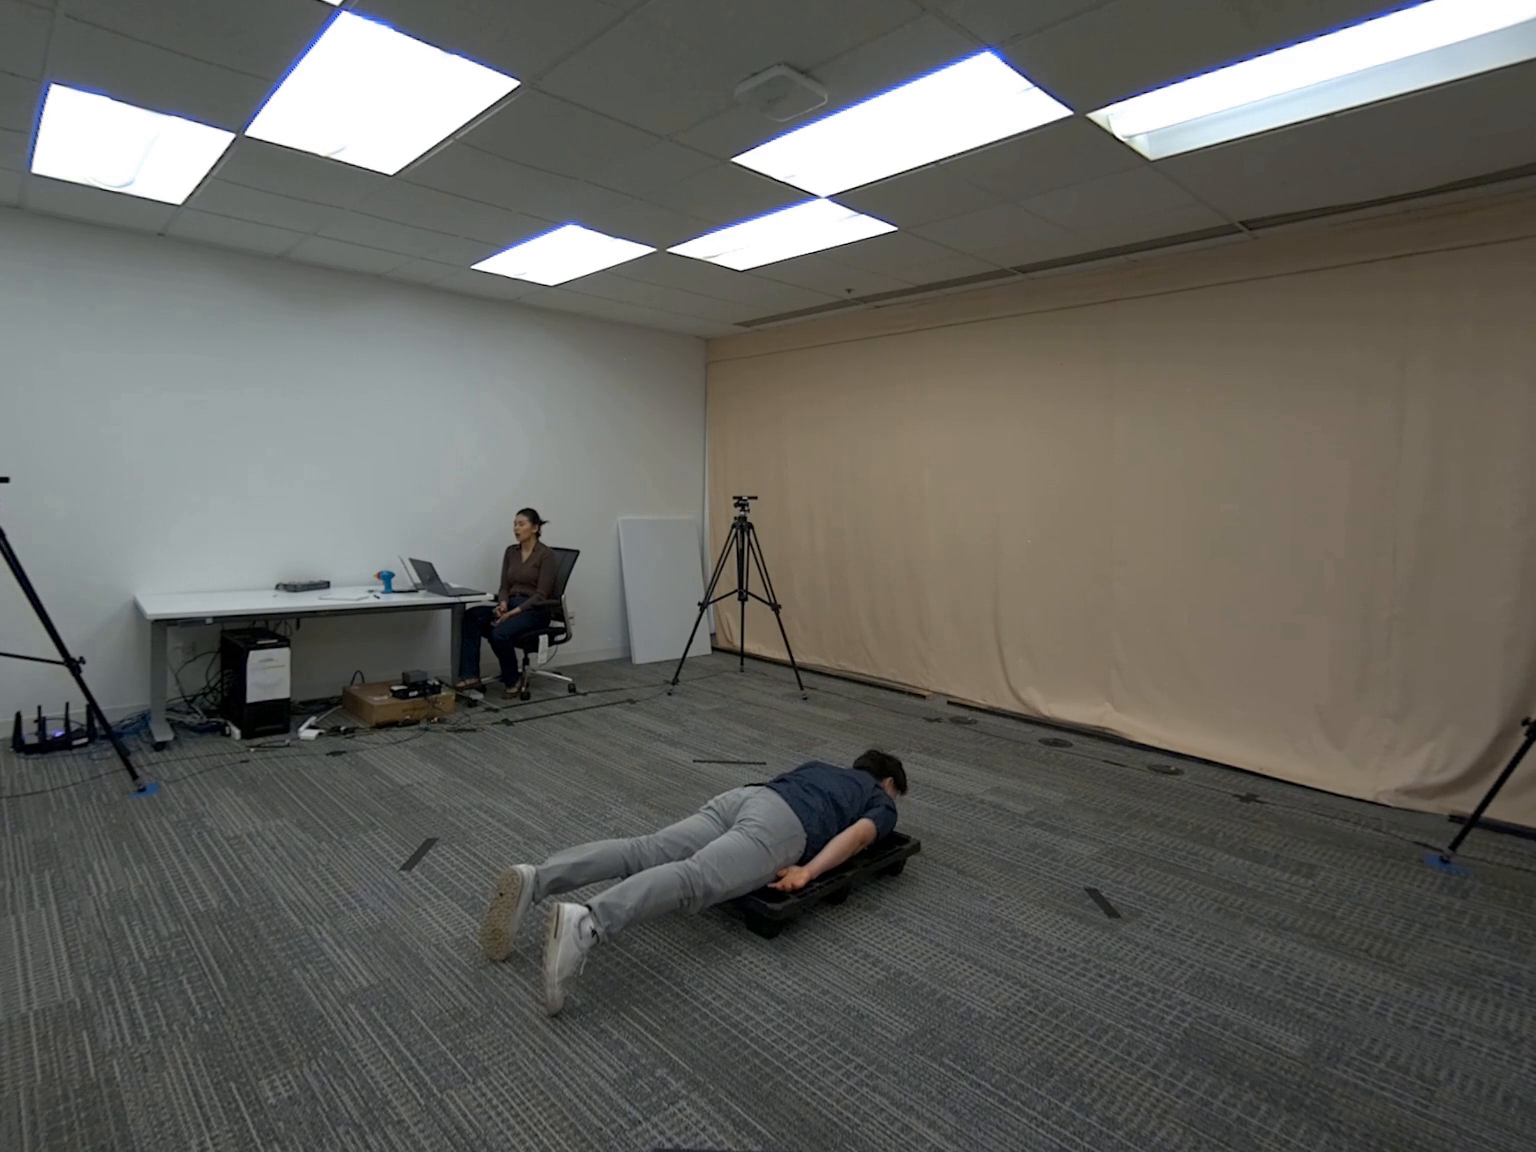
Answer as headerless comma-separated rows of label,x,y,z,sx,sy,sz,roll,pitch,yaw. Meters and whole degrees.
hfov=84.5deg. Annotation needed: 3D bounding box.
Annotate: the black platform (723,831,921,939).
black platform,0.079,1.054,3.059,0.621,0.143,0.787,6,7,43
